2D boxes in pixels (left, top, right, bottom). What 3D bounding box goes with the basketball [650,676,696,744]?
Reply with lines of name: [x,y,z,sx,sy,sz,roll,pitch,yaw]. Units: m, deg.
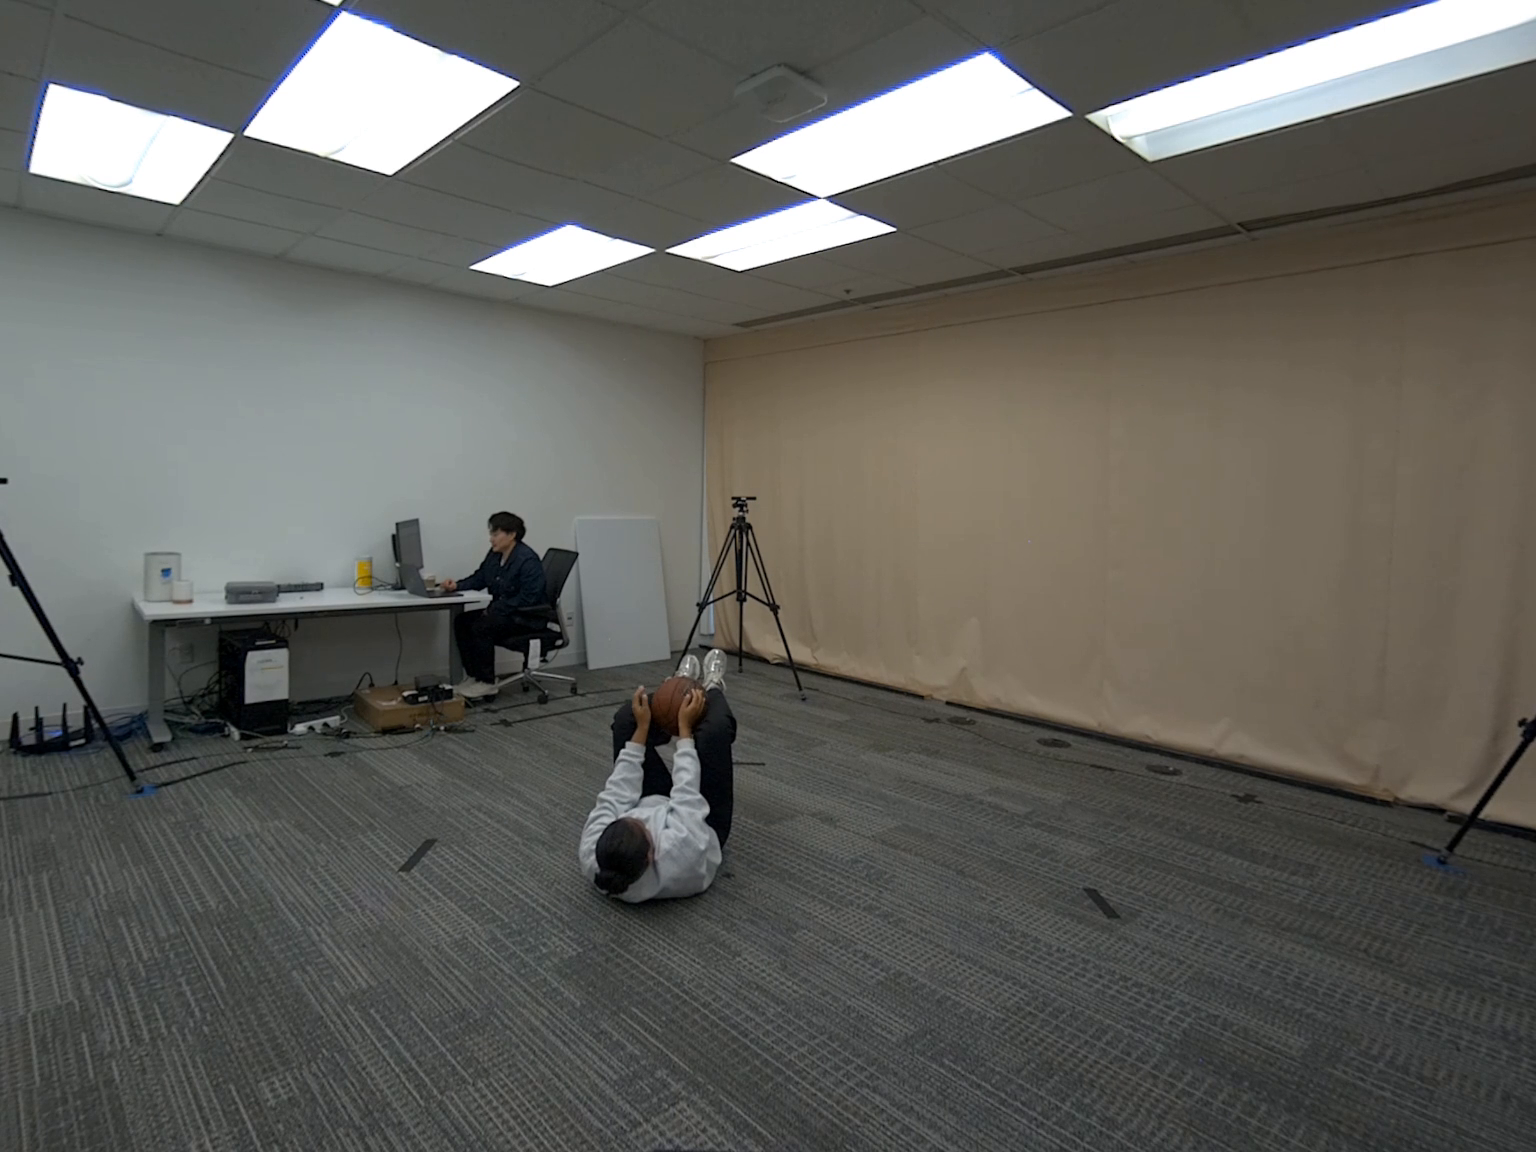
basketball: [-0.361,0.522,3.378,0.236,0.235,0.237,1,5,-1]
